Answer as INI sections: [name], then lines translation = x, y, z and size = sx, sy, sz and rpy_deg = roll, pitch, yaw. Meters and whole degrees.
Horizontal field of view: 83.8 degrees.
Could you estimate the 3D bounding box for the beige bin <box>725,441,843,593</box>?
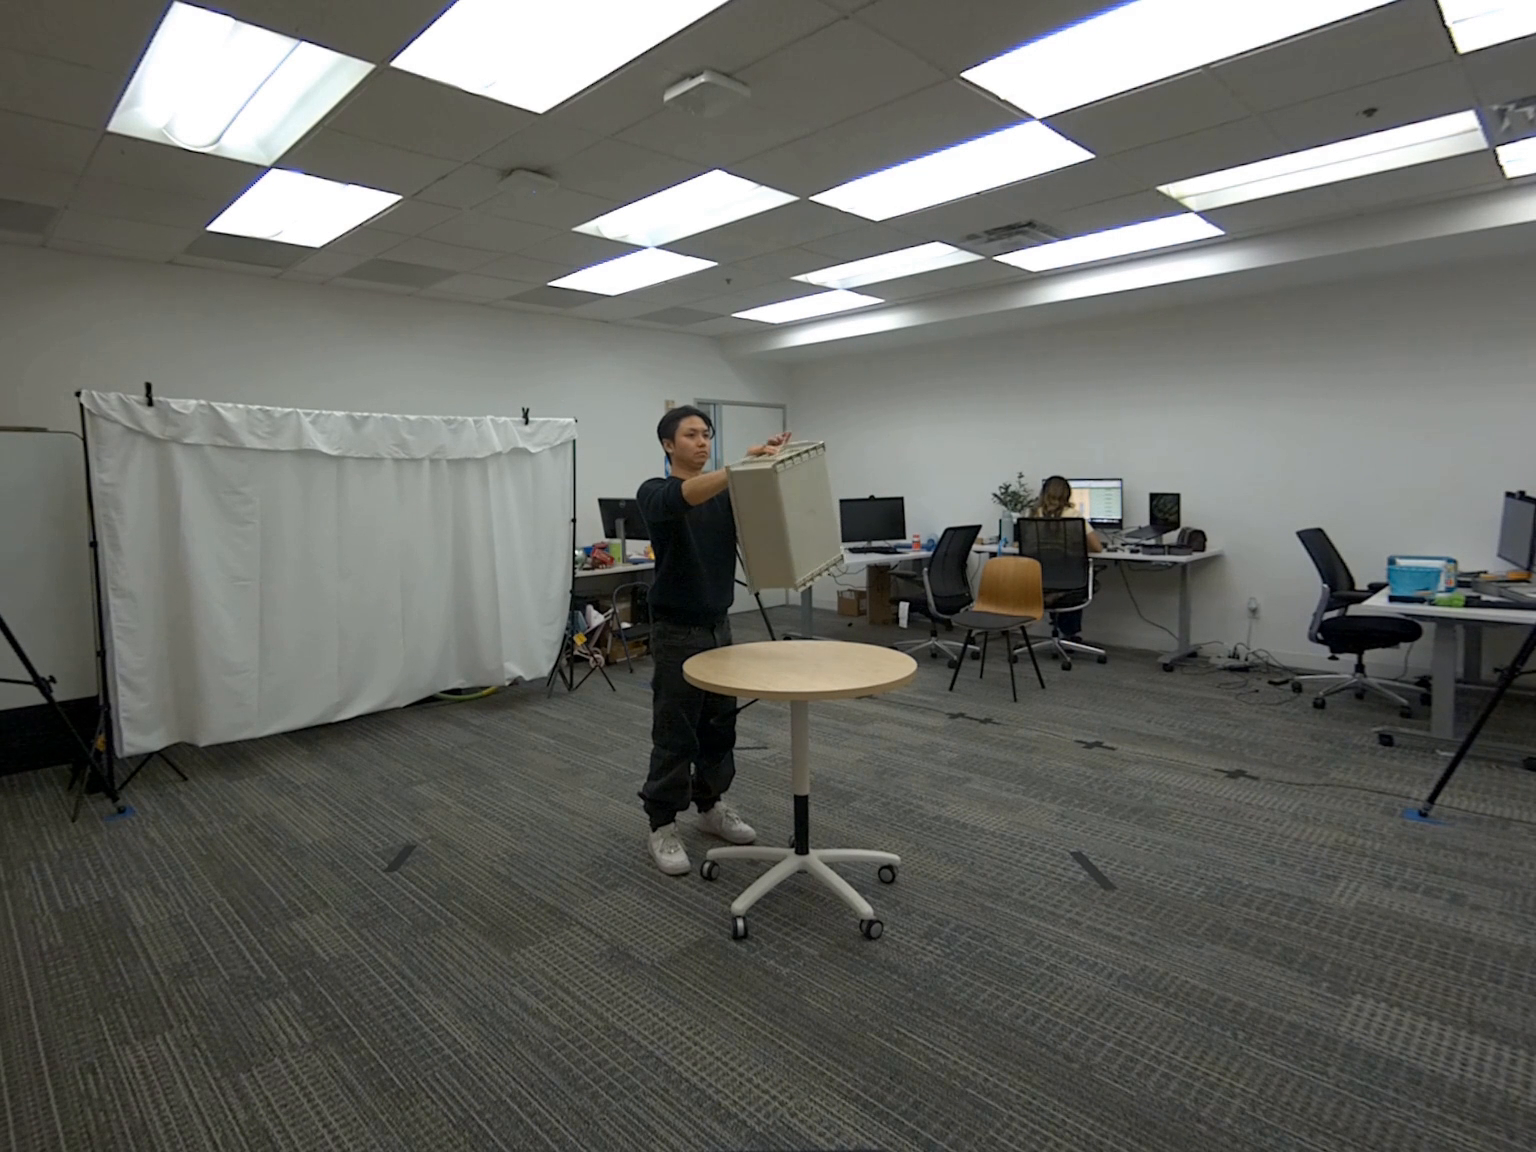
[beige bin]
translation = 0.064, -0.196, 2.784
size = 0.194, 0.417, 0.372
rpy_deg = -1, 16, 35
